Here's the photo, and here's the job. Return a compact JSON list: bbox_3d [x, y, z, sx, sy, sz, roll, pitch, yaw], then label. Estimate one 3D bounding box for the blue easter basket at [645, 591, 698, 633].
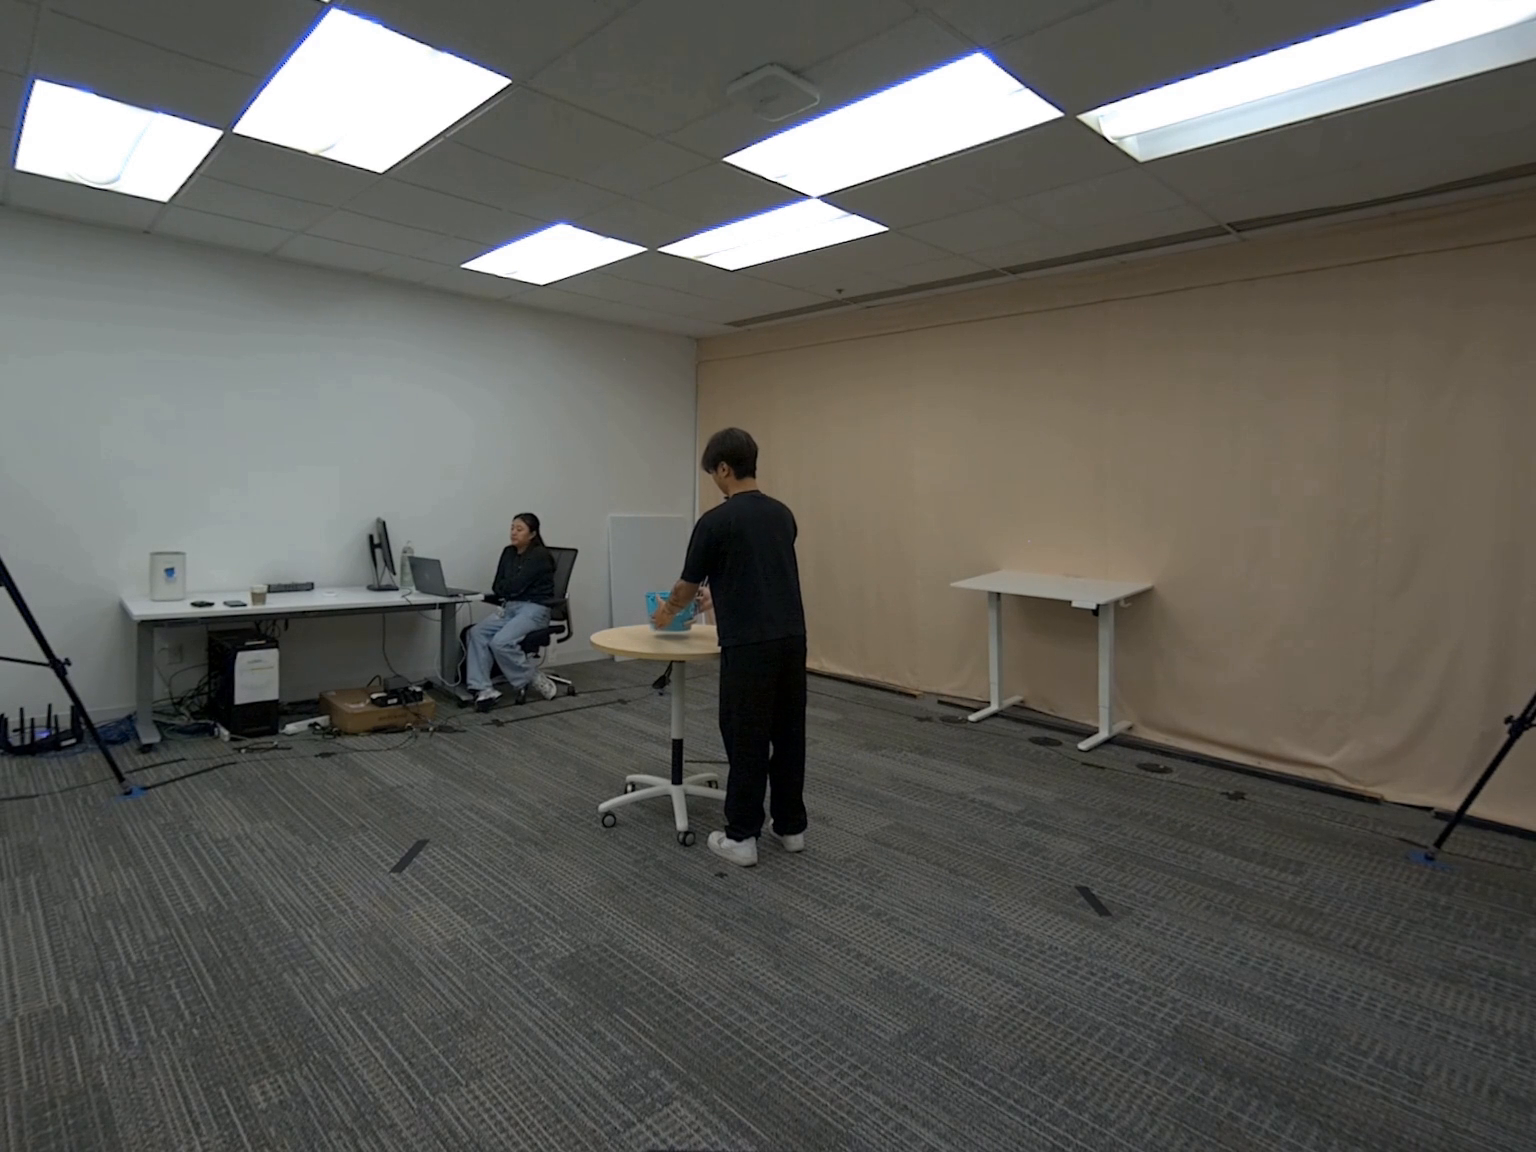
[{"bbox_3d":[-0.429,0.153,3.637,0.243,0.155,0.244,0,3,-1],"label":"blue easter basket"}]
